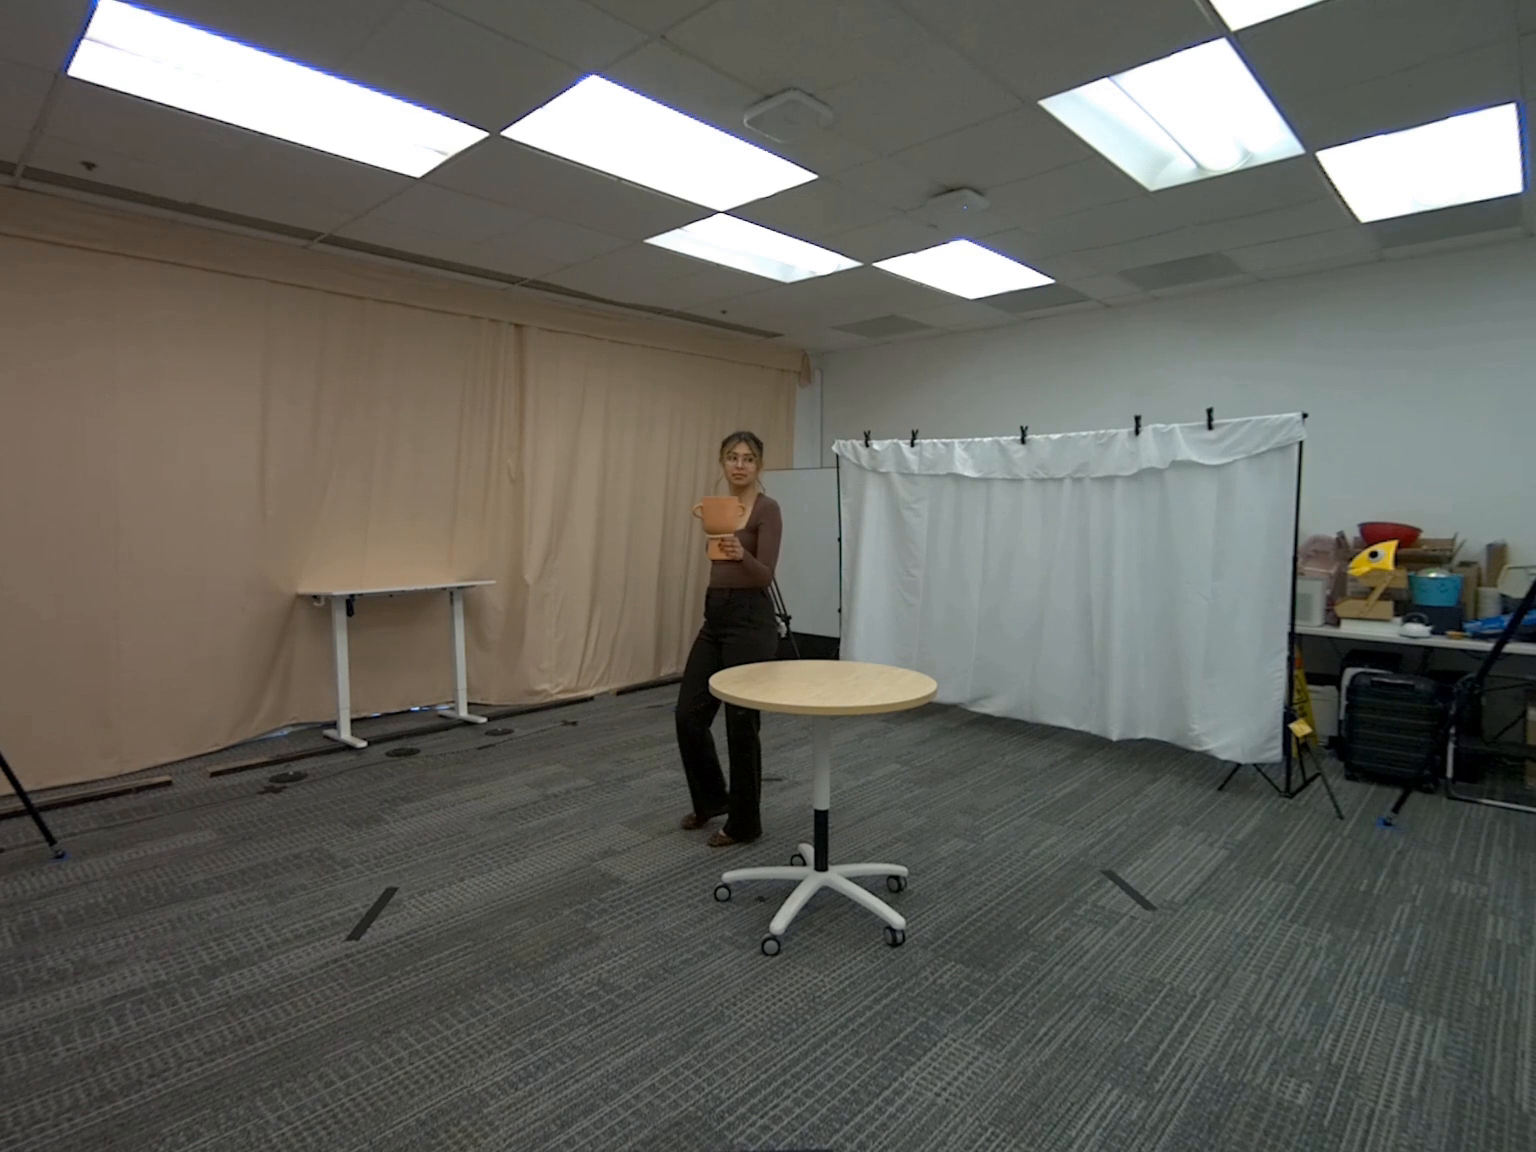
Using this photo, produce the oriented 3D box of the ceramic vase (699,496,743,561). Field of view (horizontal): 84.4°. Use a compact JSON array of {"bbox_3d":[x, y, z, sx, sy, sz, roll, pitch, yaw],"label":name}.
[{"bbox_3d":[-0.170,-0.174,3.002,0.162,0.219,0.132,-1,5,22],"label":"ceramic vase"}]
